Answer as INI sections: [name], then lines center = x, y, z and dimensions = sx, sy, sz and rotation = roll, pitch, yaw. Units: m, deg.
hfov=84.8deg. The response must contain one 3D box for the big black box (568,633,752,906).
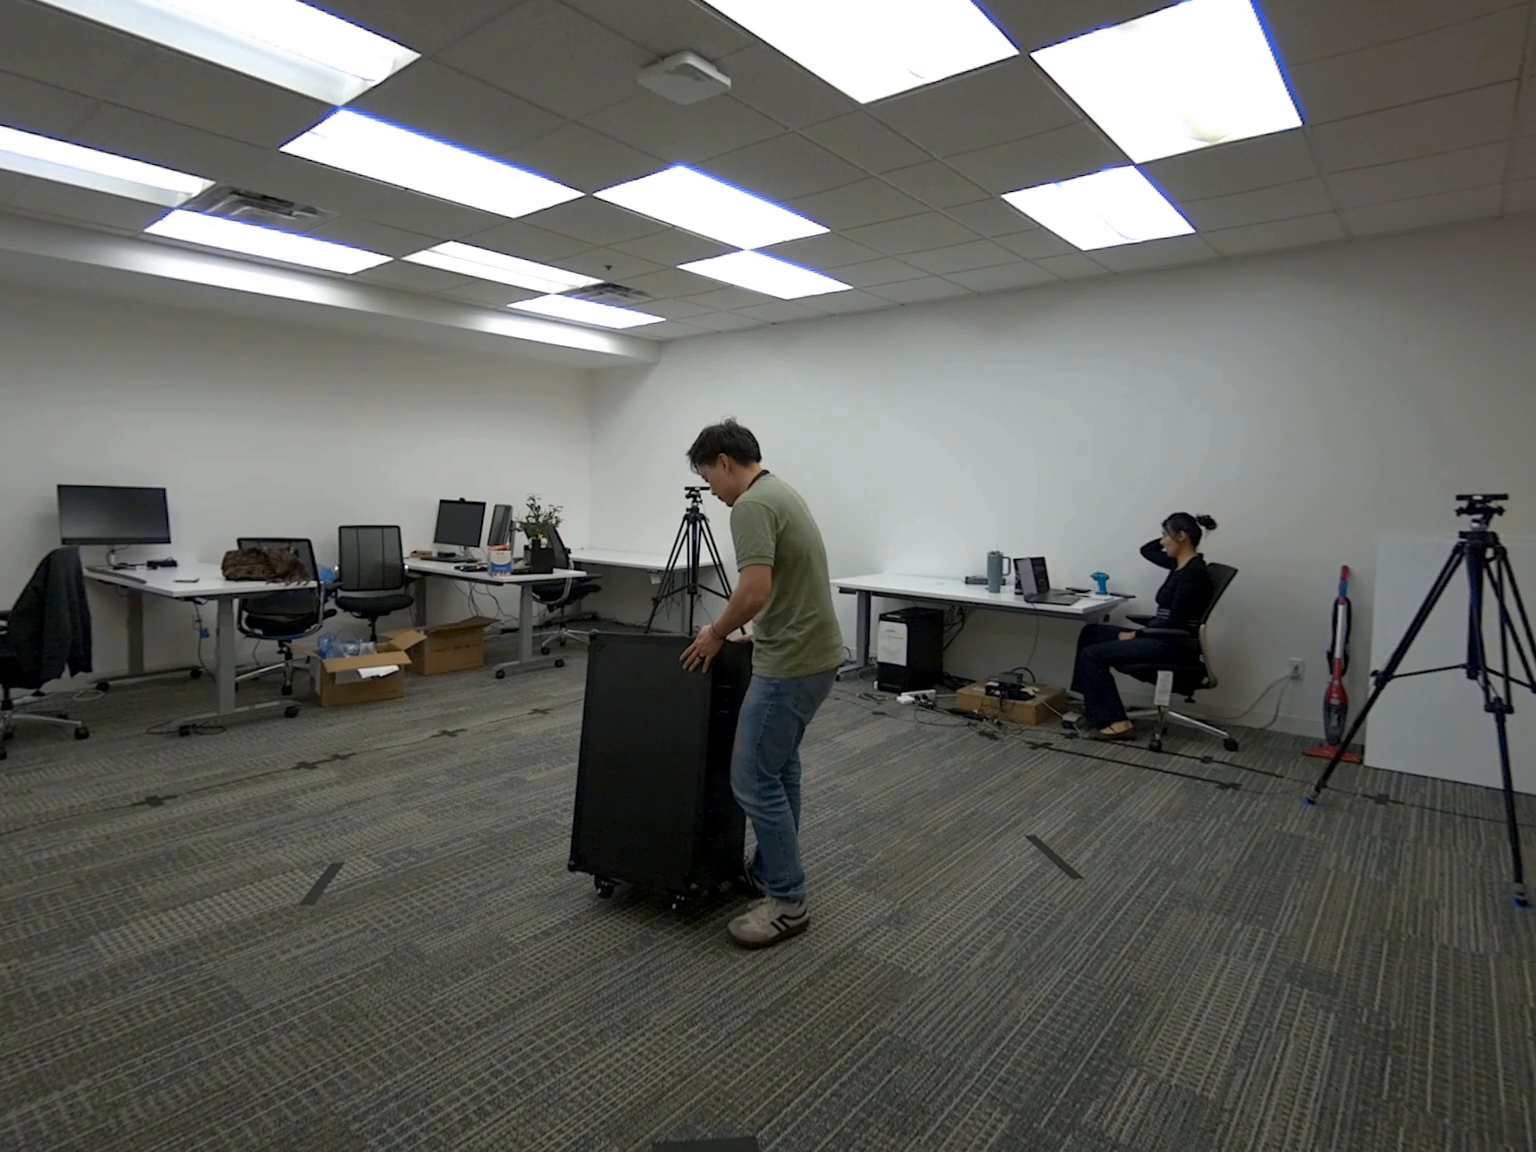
[big black box]
center = -0.372, 0.644, 2.923
dimensions = 0.533, 0.870, 0.383
rotation = -1, -11, 23
